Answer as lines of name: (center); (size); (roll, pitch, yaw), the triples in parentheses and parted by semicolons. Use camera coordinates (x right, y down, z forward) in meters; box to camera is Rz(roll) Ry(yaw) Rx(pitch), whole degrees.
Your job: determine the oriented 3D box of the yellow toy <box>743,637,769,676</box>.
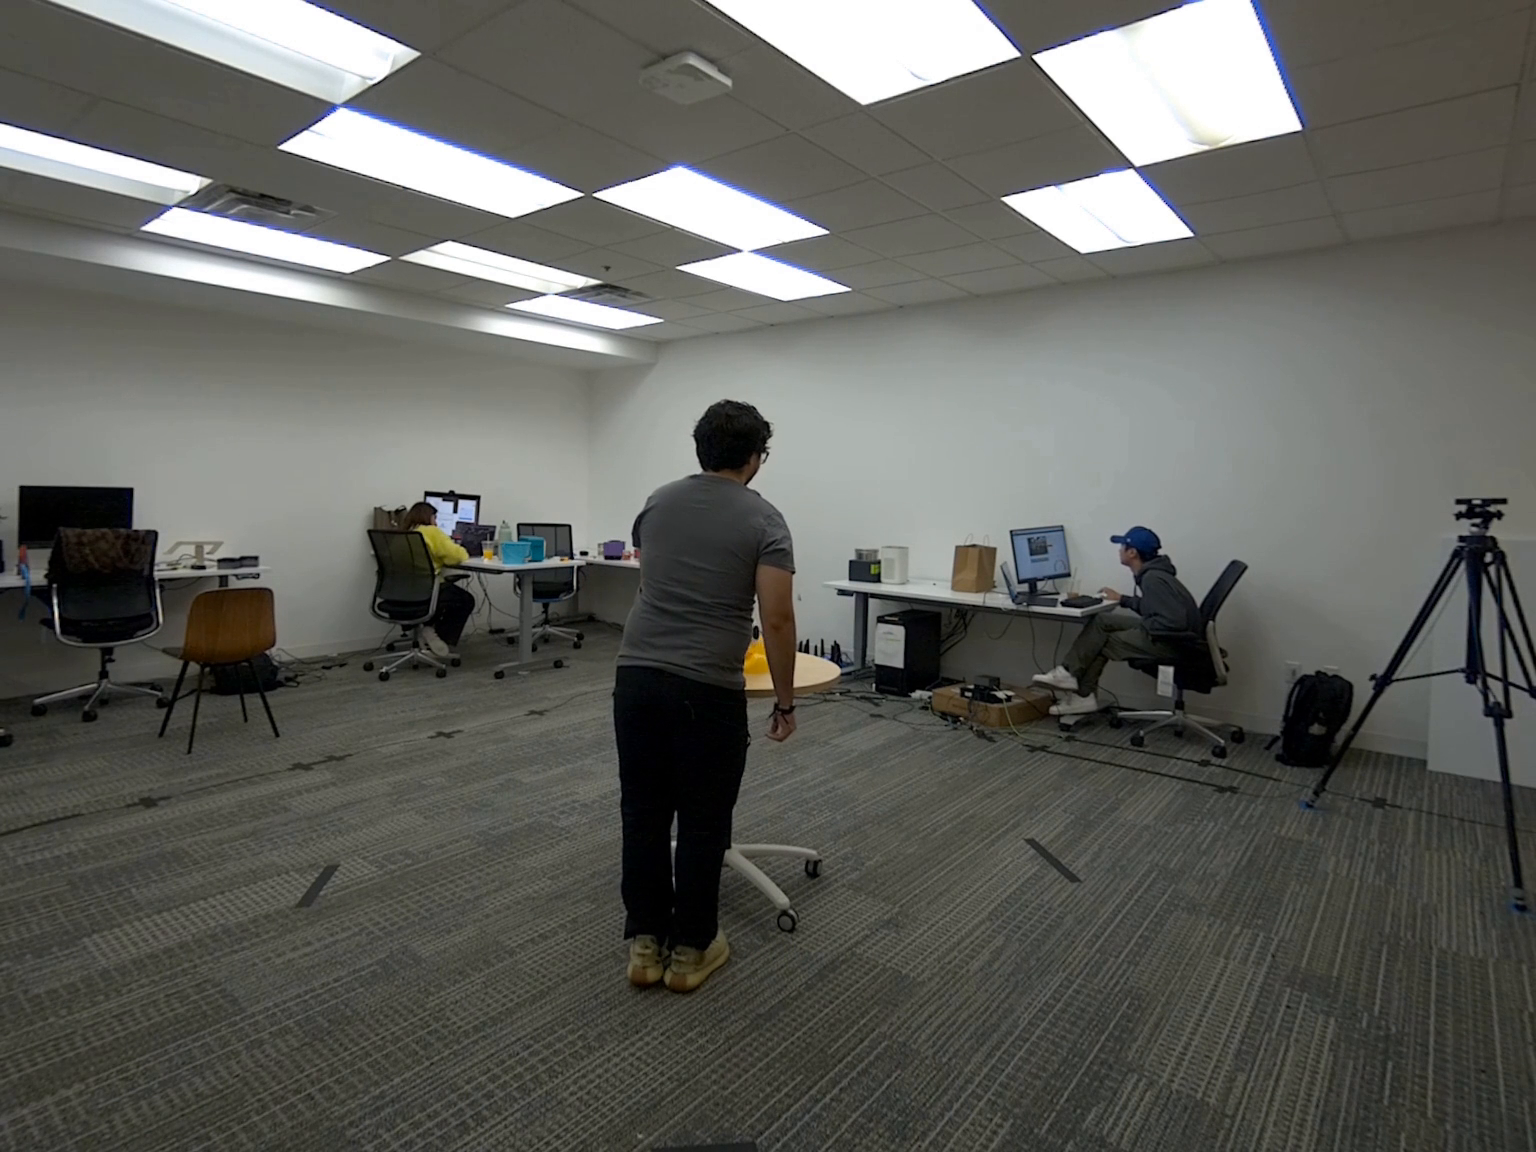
yellow toy: (-0.092, 0.195, 2.893); (0.188, 0.230, 0.211); (-1, 4, -29)
